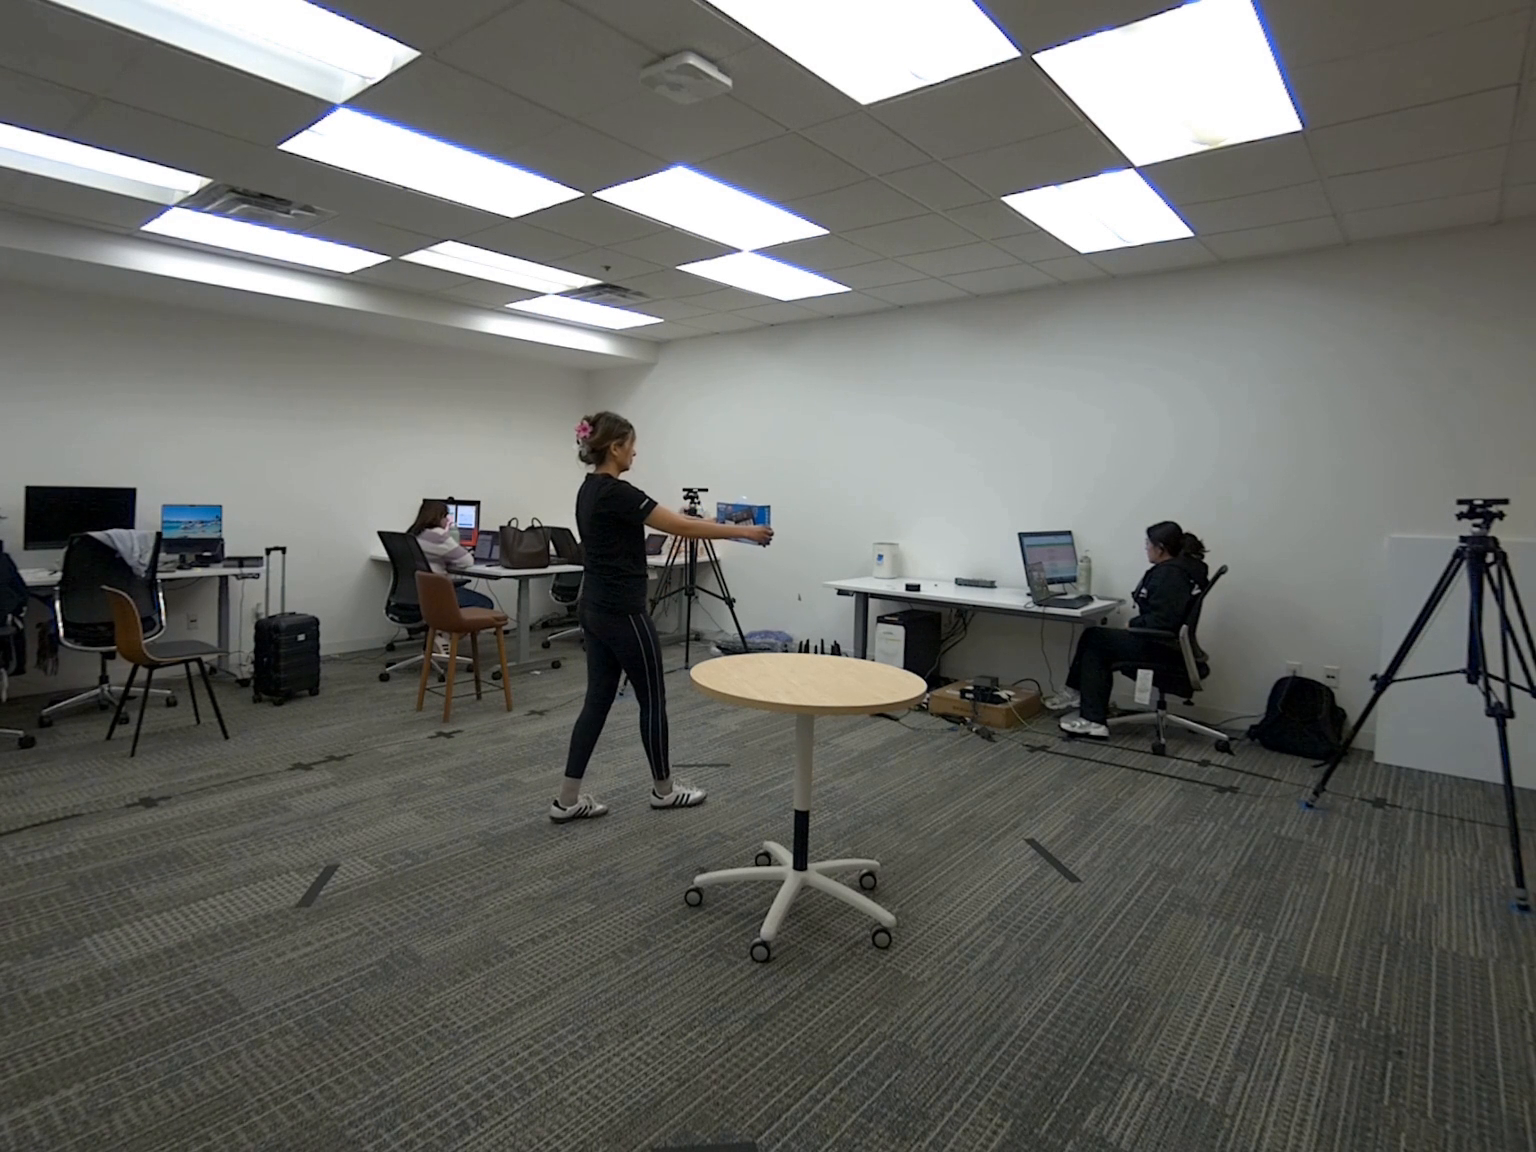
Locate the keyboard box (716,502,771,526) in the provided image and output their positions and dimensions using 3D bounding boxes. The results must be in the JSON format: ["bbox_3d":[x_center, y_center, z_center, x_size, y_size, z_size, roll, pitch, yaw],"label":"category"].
[{"bbox_3d":[-0.125,-0.242,3.808,0.058,0.175,0.449,-1,6,-27],"label":"keyboard box"}]
